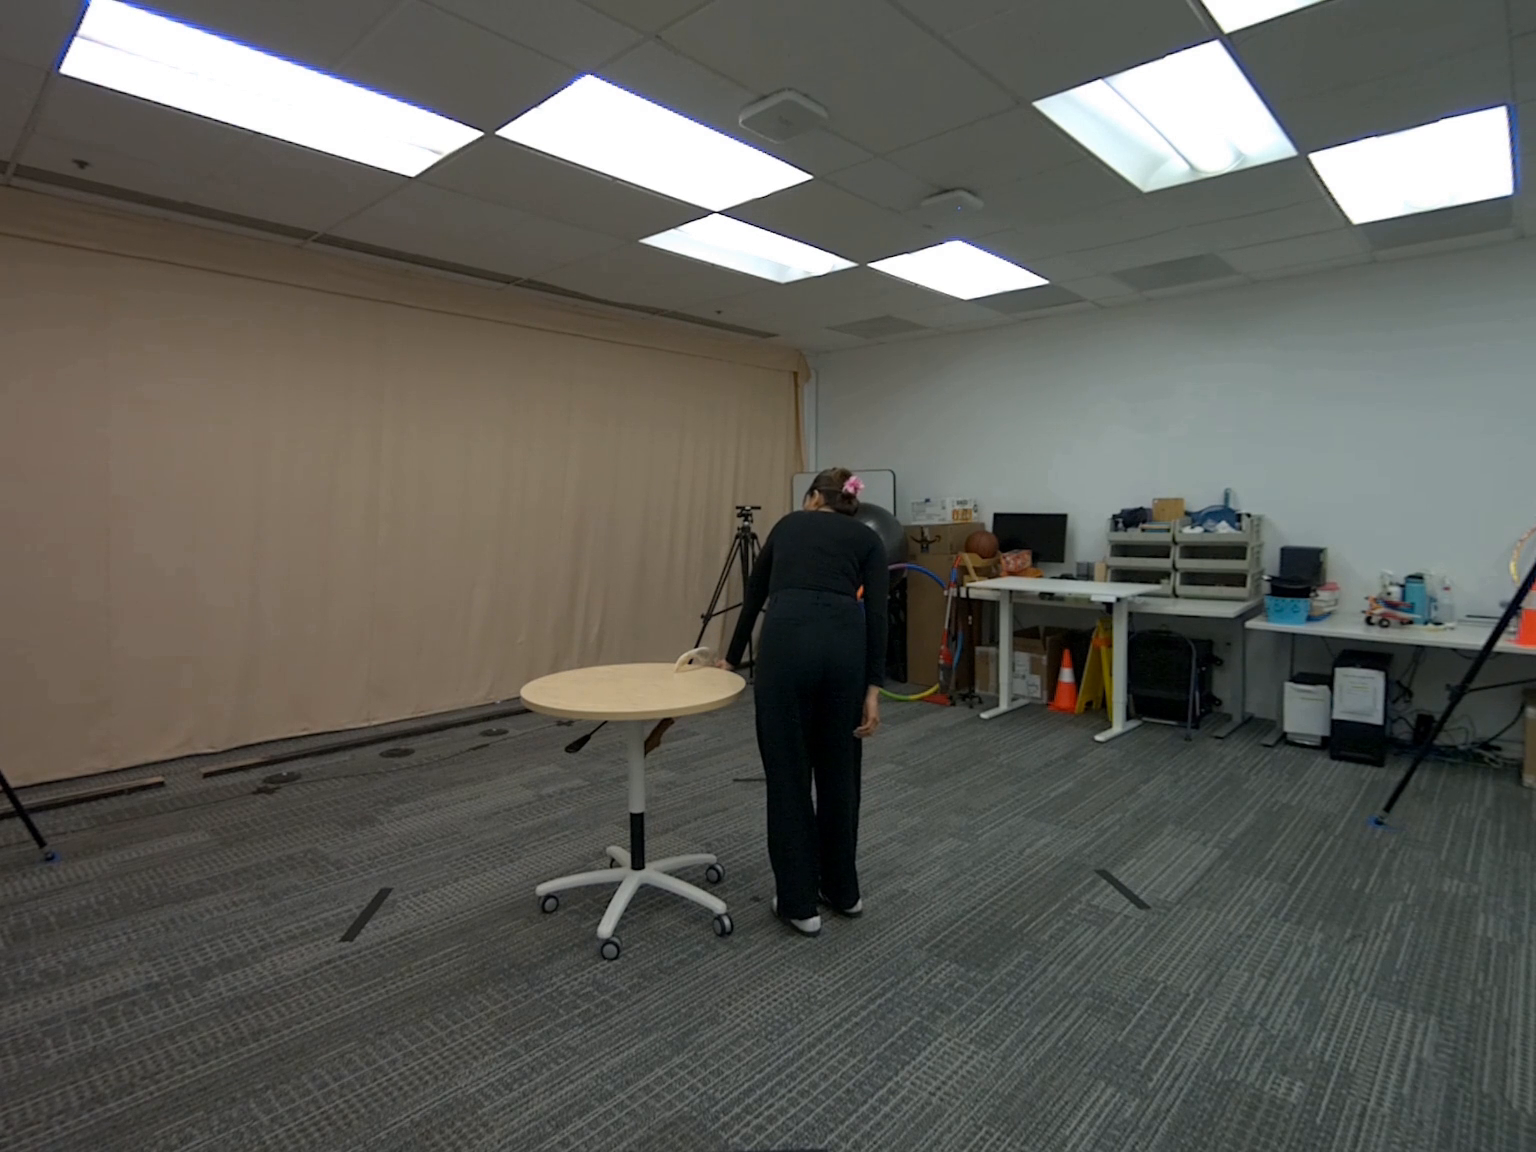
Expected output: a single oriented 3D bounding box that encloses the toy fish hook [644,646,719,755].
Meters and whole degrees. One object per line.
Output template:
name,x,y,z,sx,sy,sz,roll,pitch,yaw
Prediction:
toy fish hook,-0.339,0.458,3.089,0.050,0.219,0.503,3,35,33
